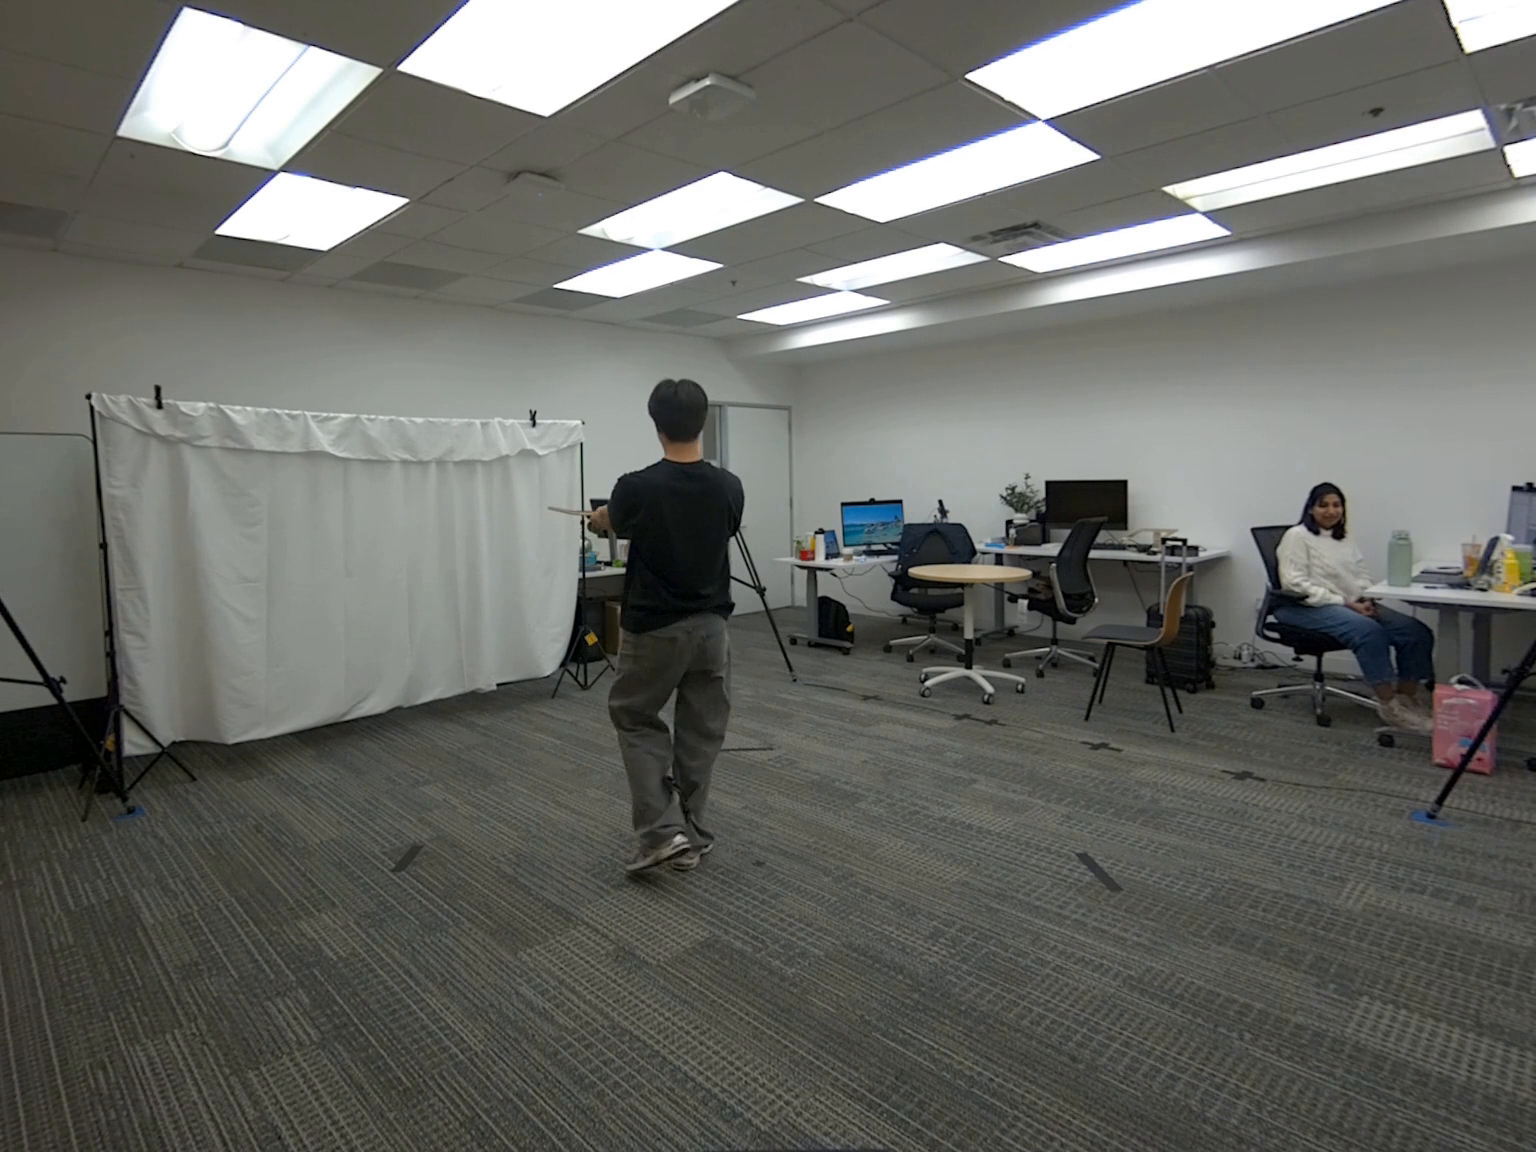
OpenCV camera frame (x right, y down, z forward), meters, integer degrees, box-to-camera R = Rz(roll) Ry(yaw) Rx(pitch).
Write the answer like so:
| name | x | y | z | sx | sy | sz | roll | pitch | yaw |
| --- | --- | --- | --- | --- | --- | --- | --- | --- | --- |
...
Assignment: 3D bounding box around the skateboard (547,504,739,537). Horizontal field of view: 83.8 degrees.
| name | x | y | z | sx | sy | sz | roll | pitch | yaw |
| --- | --- | --- | --- | --- | --- | --- | --- | --- | --- |
| skateboard | -0.530 | -0.236 | 3.633 | 0.773 | 0.110 | 0.197 | 0 | 7 | -16 |
